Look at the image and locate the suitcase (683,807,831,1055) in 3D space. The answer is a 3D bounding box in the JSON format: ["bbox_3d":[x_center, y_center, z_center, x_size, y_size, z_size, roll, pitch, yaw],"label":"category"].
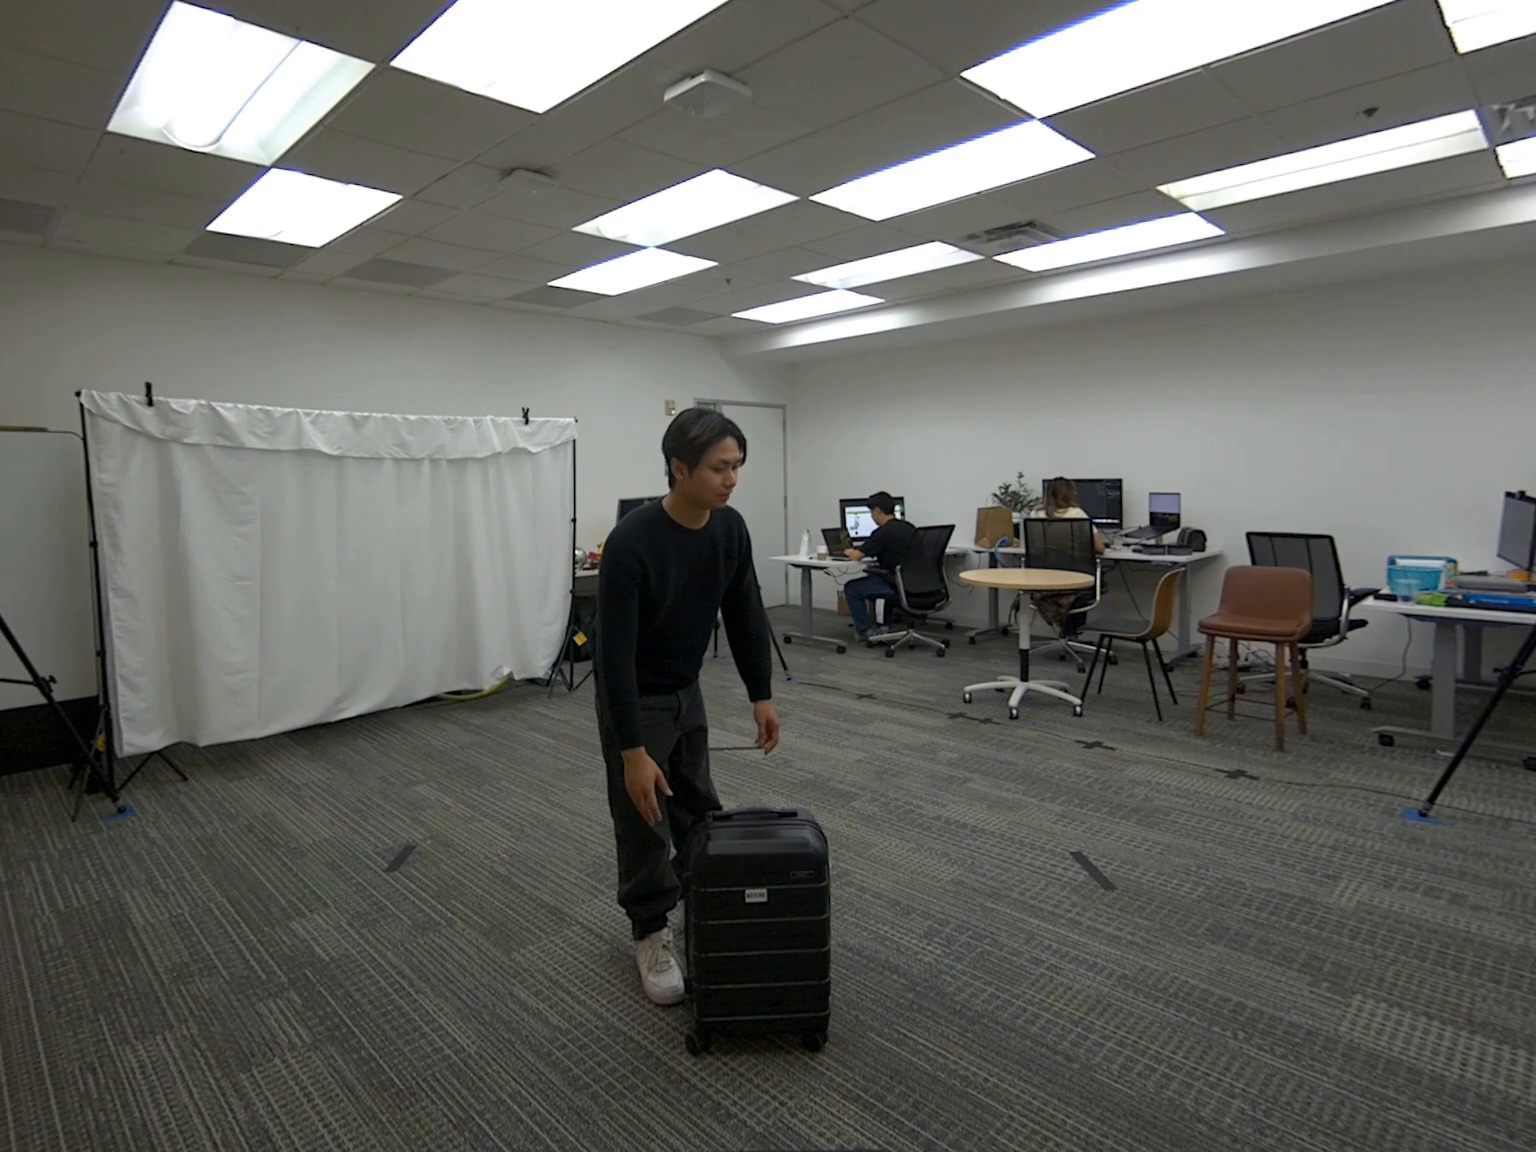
[{"bbox_3d":[-0.014,0.878,2.161,0.374,0.547,0.250,-1,5,-3],"label":"suitcase"}]
